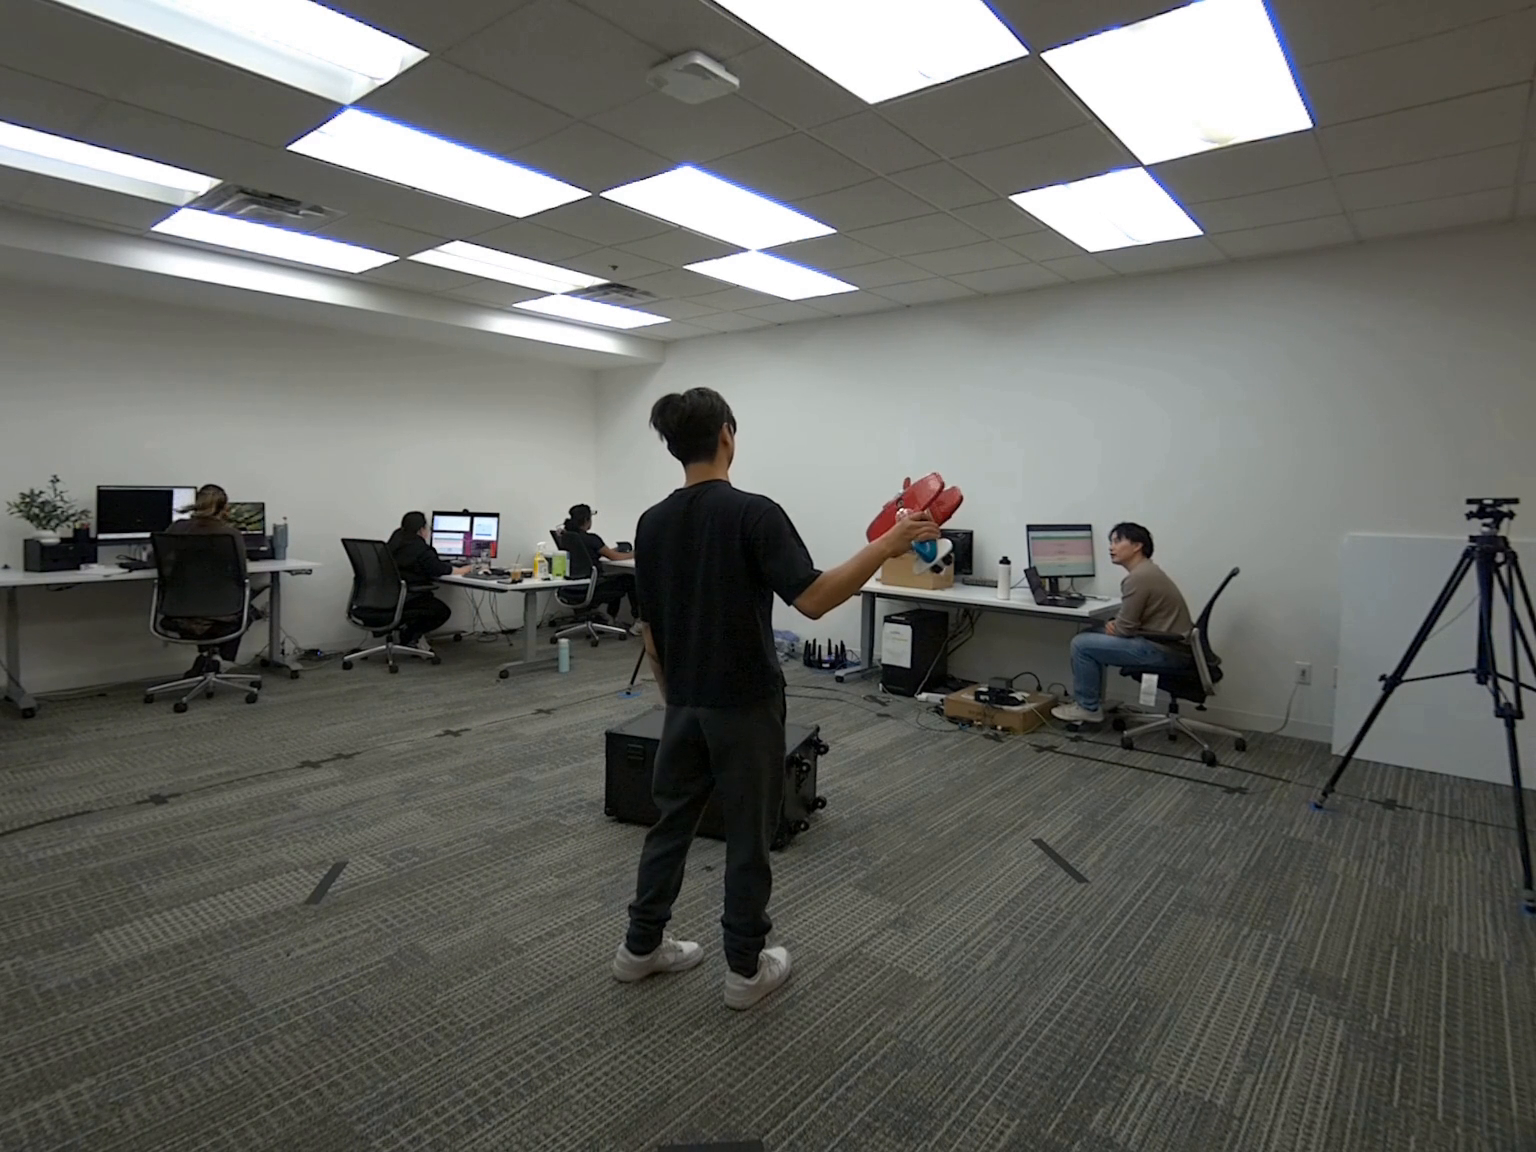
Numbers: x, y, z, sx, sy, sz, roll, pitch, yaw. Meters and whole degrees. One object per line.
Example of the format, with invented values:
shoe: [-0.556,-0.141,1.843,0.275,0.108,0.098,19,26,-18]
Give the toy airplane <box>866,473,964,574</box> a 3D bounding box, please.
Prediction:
toy airplane: [0.399,-0.125,2.172,0.152,0.251,0.266,35,2,-21]
